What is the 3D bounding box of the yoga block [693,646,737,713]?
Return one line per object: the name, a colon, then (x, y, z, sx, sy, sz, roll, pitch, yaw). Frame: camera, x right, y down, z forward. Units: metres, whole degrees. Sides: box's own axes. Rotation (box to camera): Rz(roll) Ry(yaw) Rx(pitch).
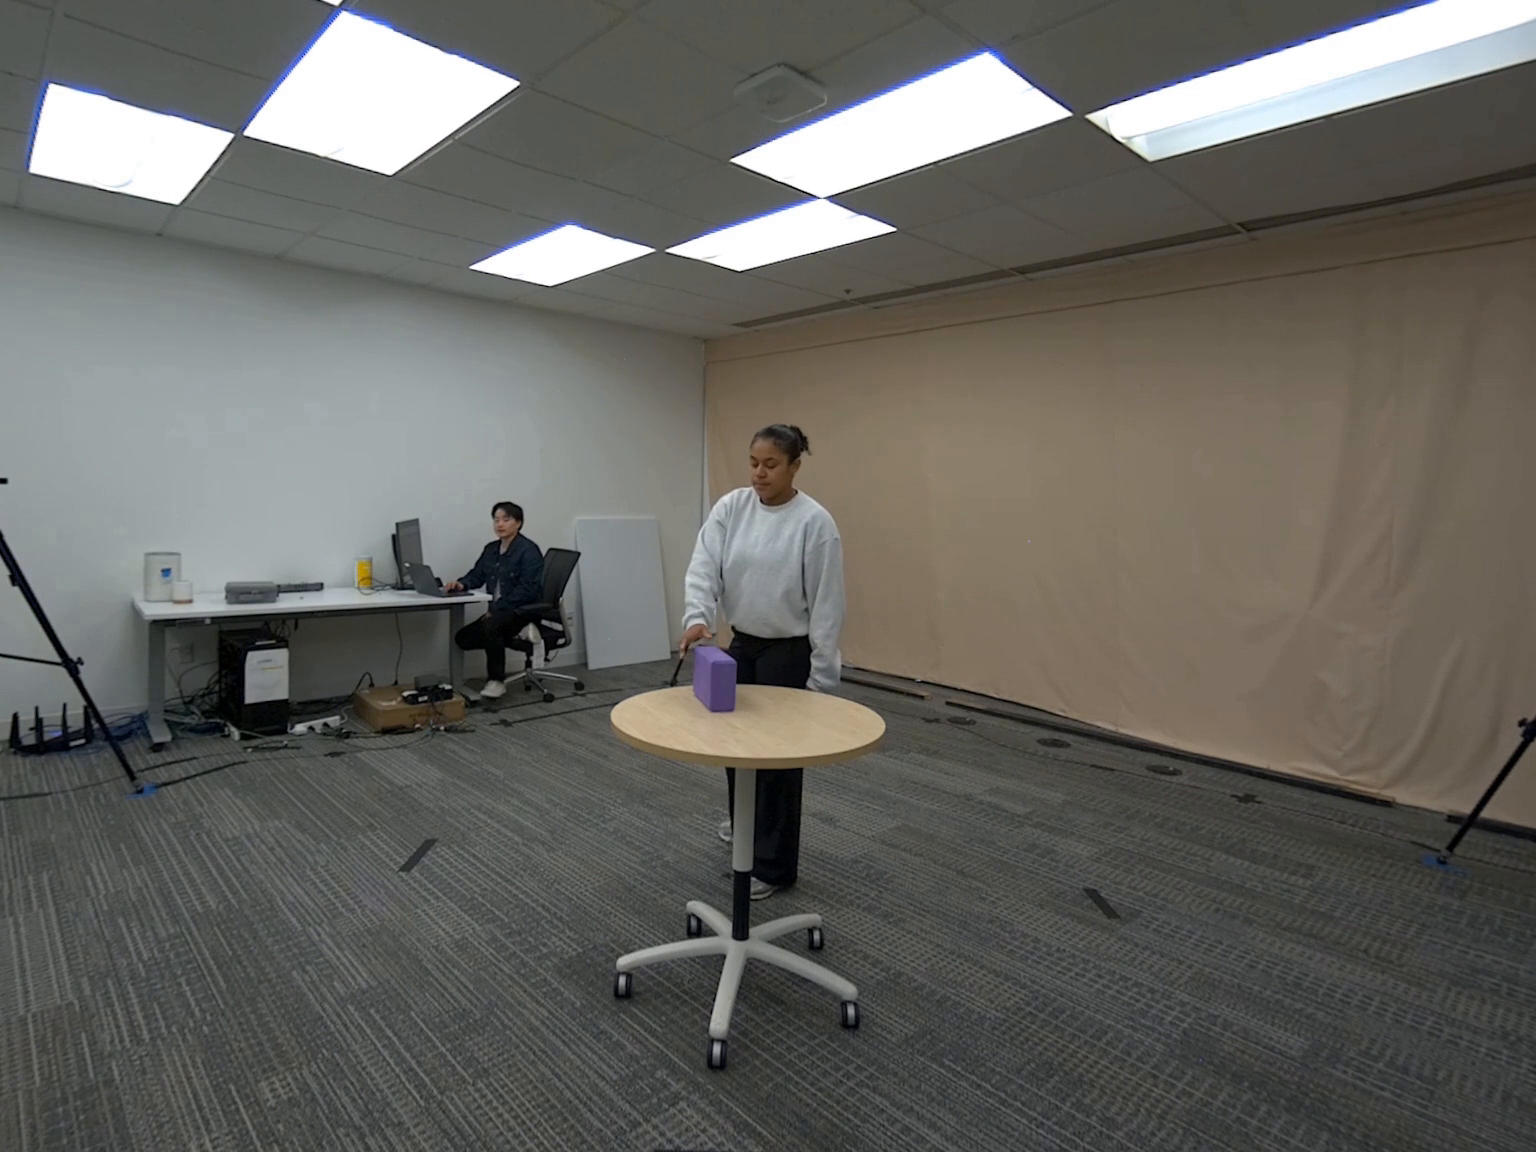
yoga block: (-0.165, 0.306, 2.493, 0.075, 0.148, 0.233, 0, 6, -15)
